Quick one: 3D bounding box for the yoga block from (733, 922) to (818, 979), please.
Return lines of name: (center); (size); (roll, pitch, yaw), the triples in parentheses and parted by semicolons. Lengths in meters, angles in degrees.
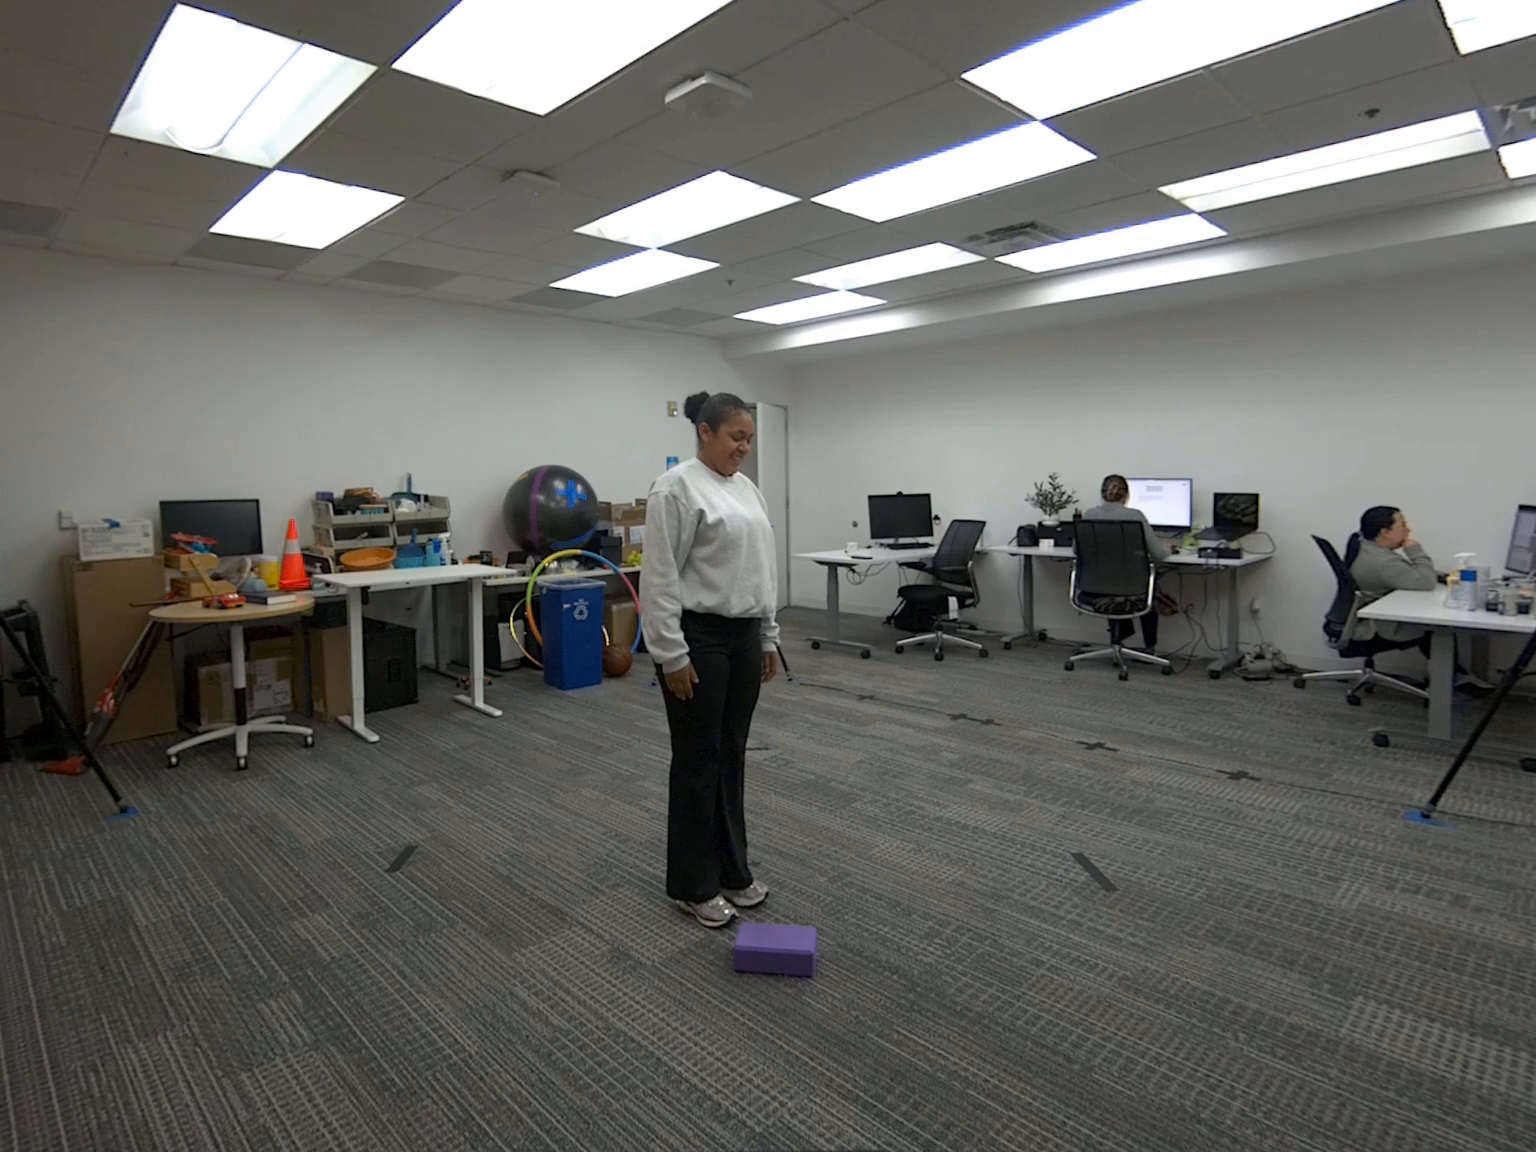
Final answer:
yoga block: (0.029, 1.076, 2.474); (0.232, 0.076, 0.148); (1, 5, 10)
